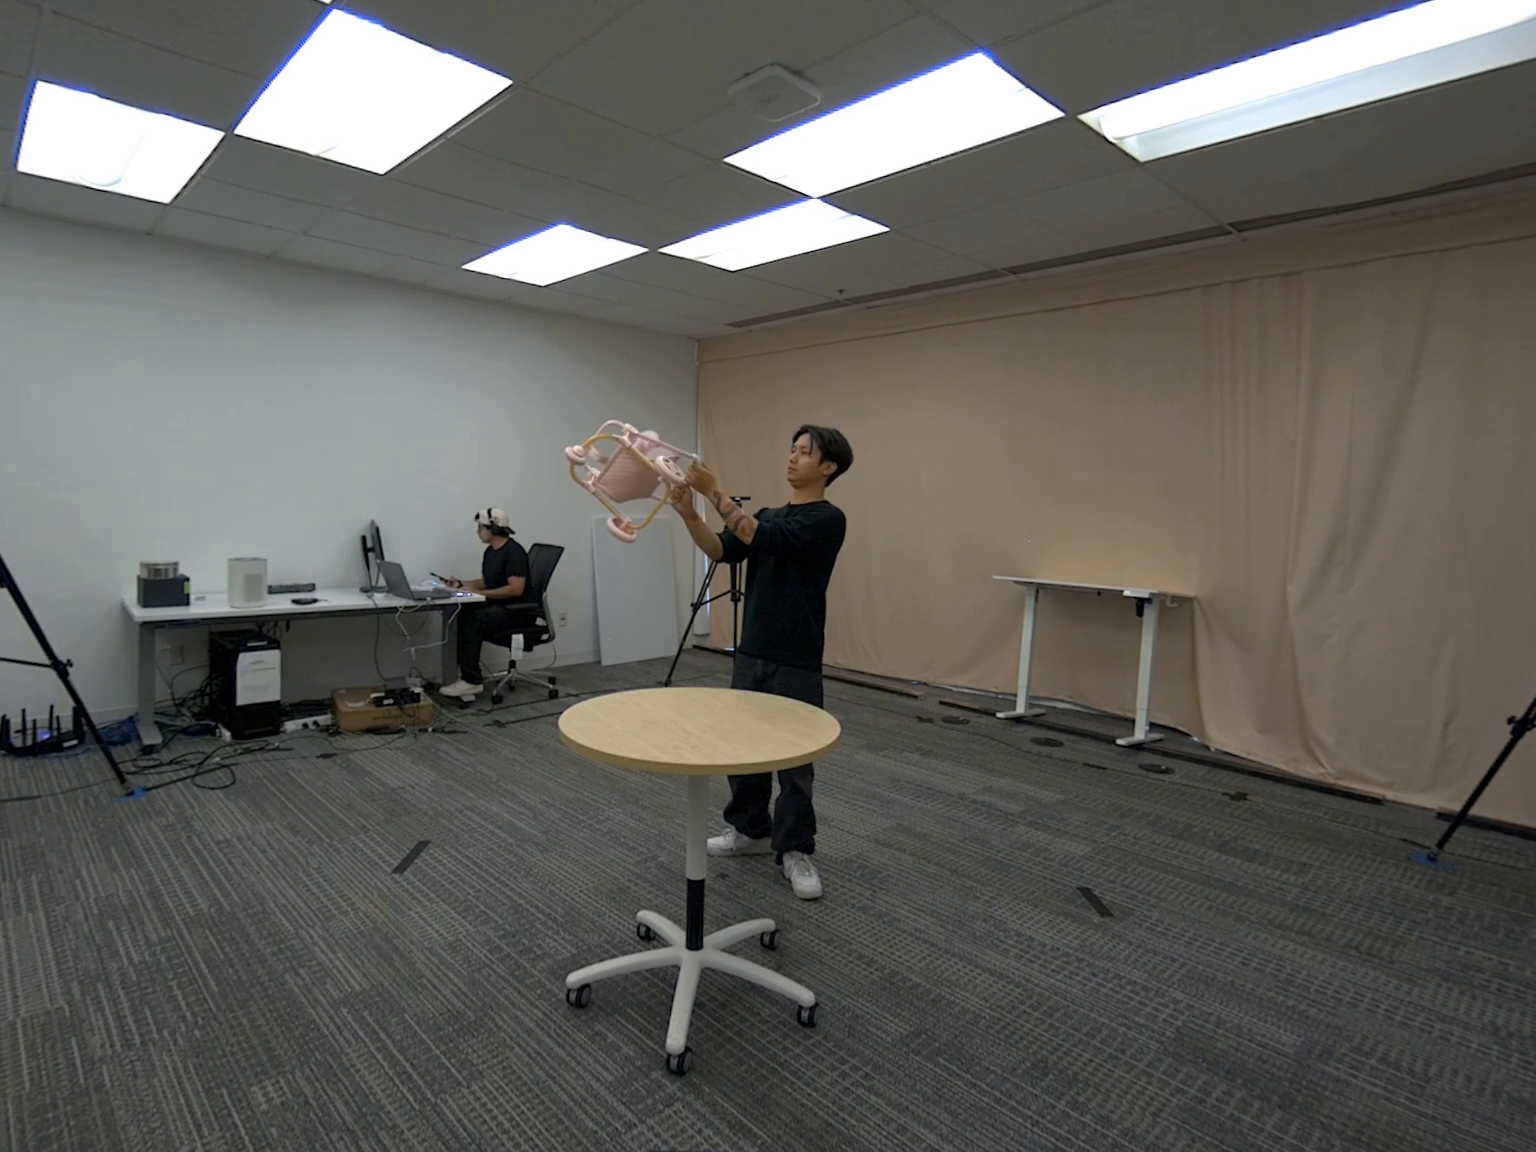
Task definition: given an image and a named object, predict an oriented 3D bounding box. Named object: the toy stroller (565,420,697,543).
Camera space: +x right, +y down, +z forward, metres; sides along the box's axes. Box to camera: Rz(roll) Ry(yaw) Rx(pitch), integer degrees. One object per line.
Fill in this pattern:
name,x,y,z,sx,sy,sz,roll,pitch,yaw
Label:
toy stroller,-0.447,-0.340,2.698,0.340,0.281,0.538,35,20,-5
